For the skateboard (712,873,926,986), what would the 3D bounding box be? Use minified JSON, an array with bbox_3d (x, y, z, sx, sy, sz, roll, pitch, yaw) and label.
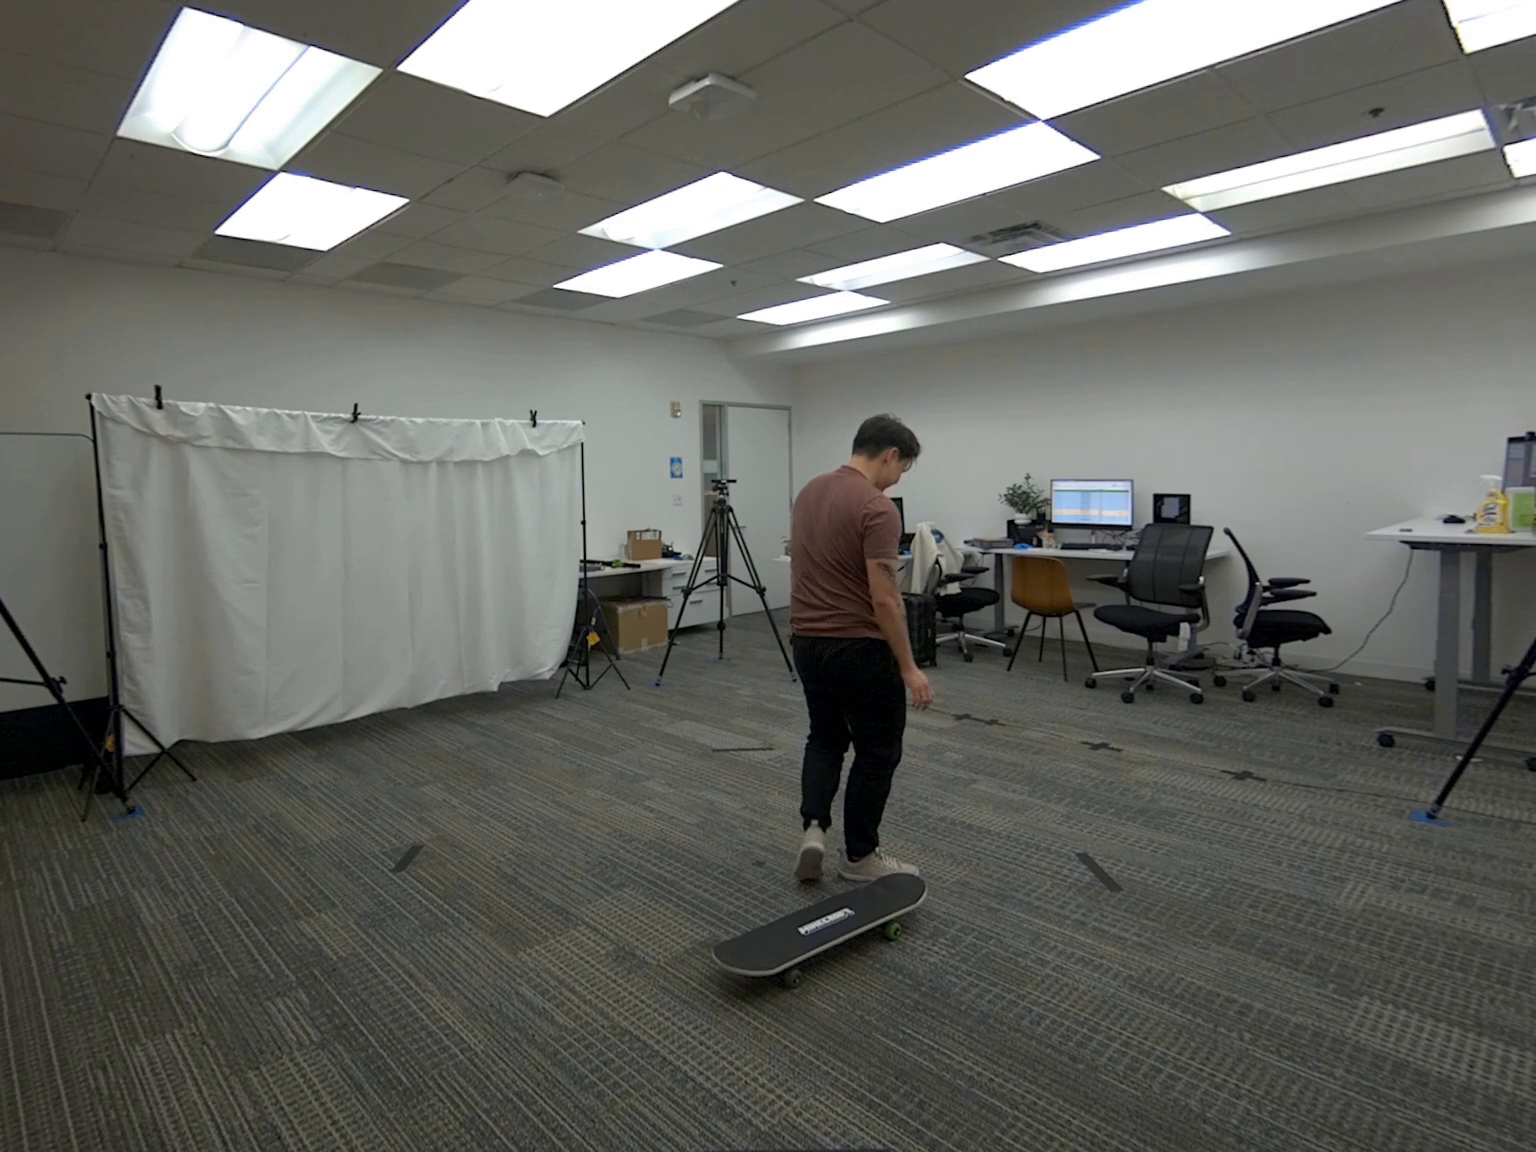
[{"bbox_3d":[0.184,1.056,2.531,0.766,0.110,0.199,-7,8,-37],"label":"skateboard"}]
